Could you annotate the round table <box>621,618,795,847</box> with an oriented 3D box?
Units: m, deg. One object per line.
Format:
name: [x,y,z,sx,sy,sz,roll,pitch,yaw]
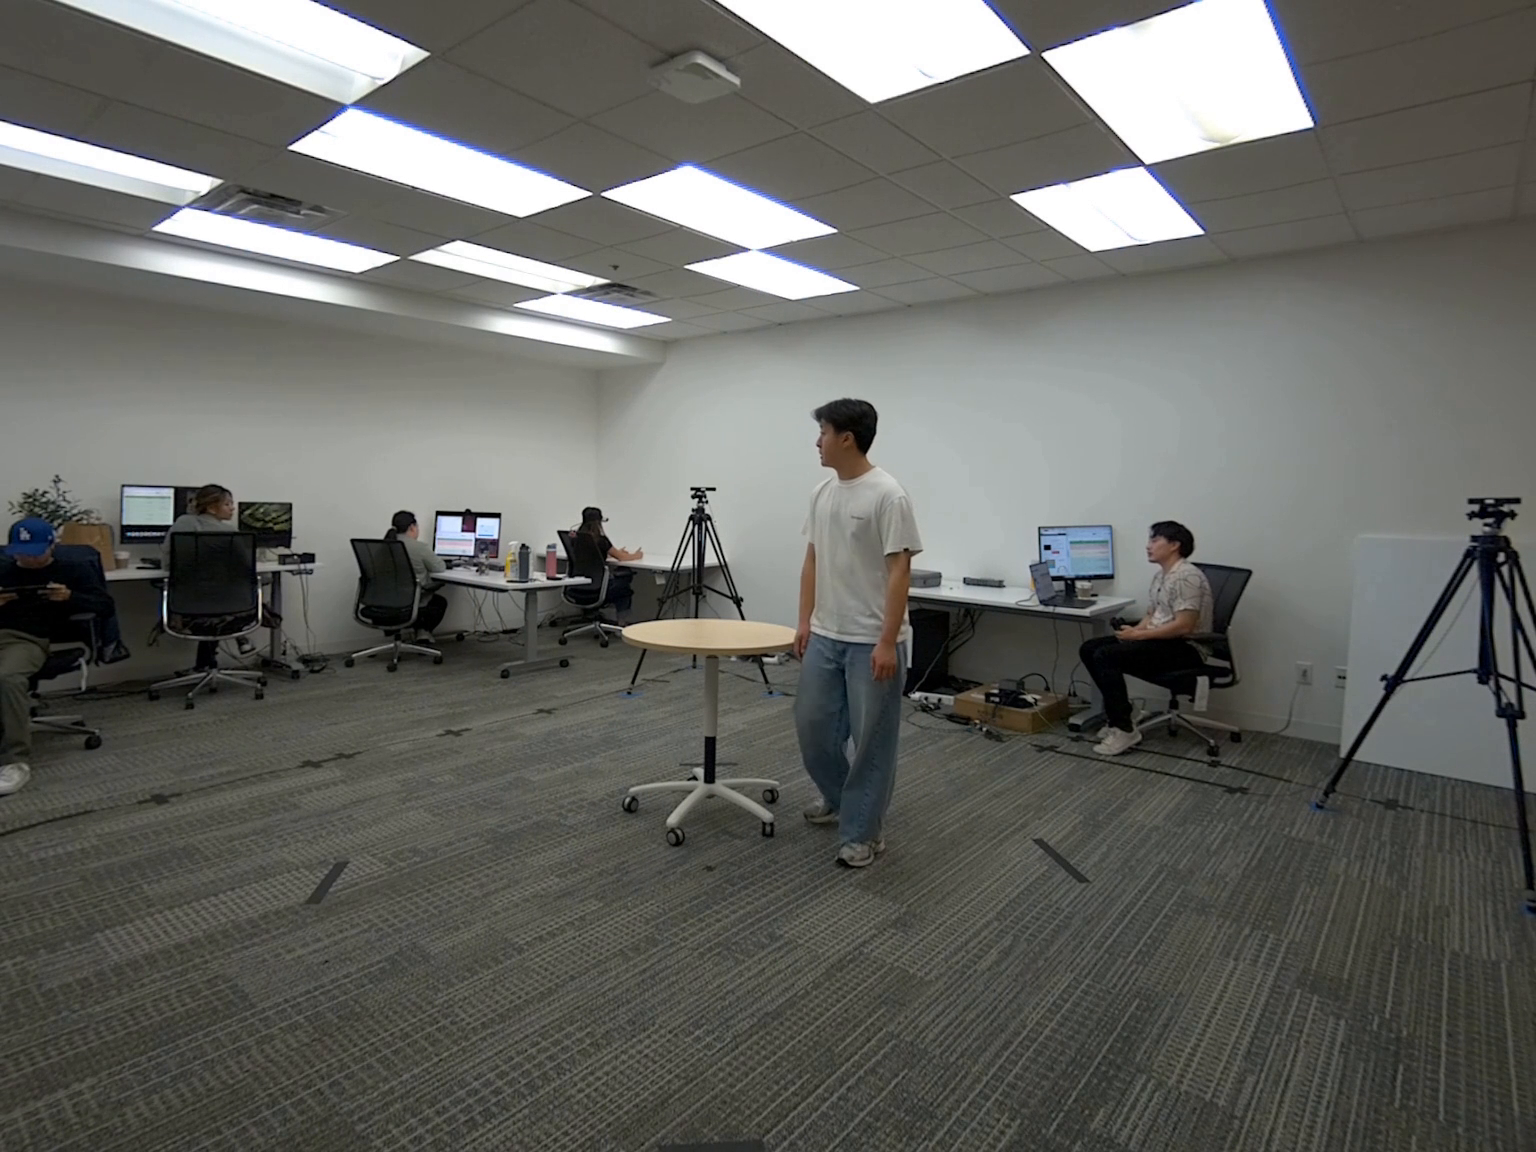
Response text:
round table: [-0.245,0.624,3.611,0.784,0.784,0.789,1,4,-2]
